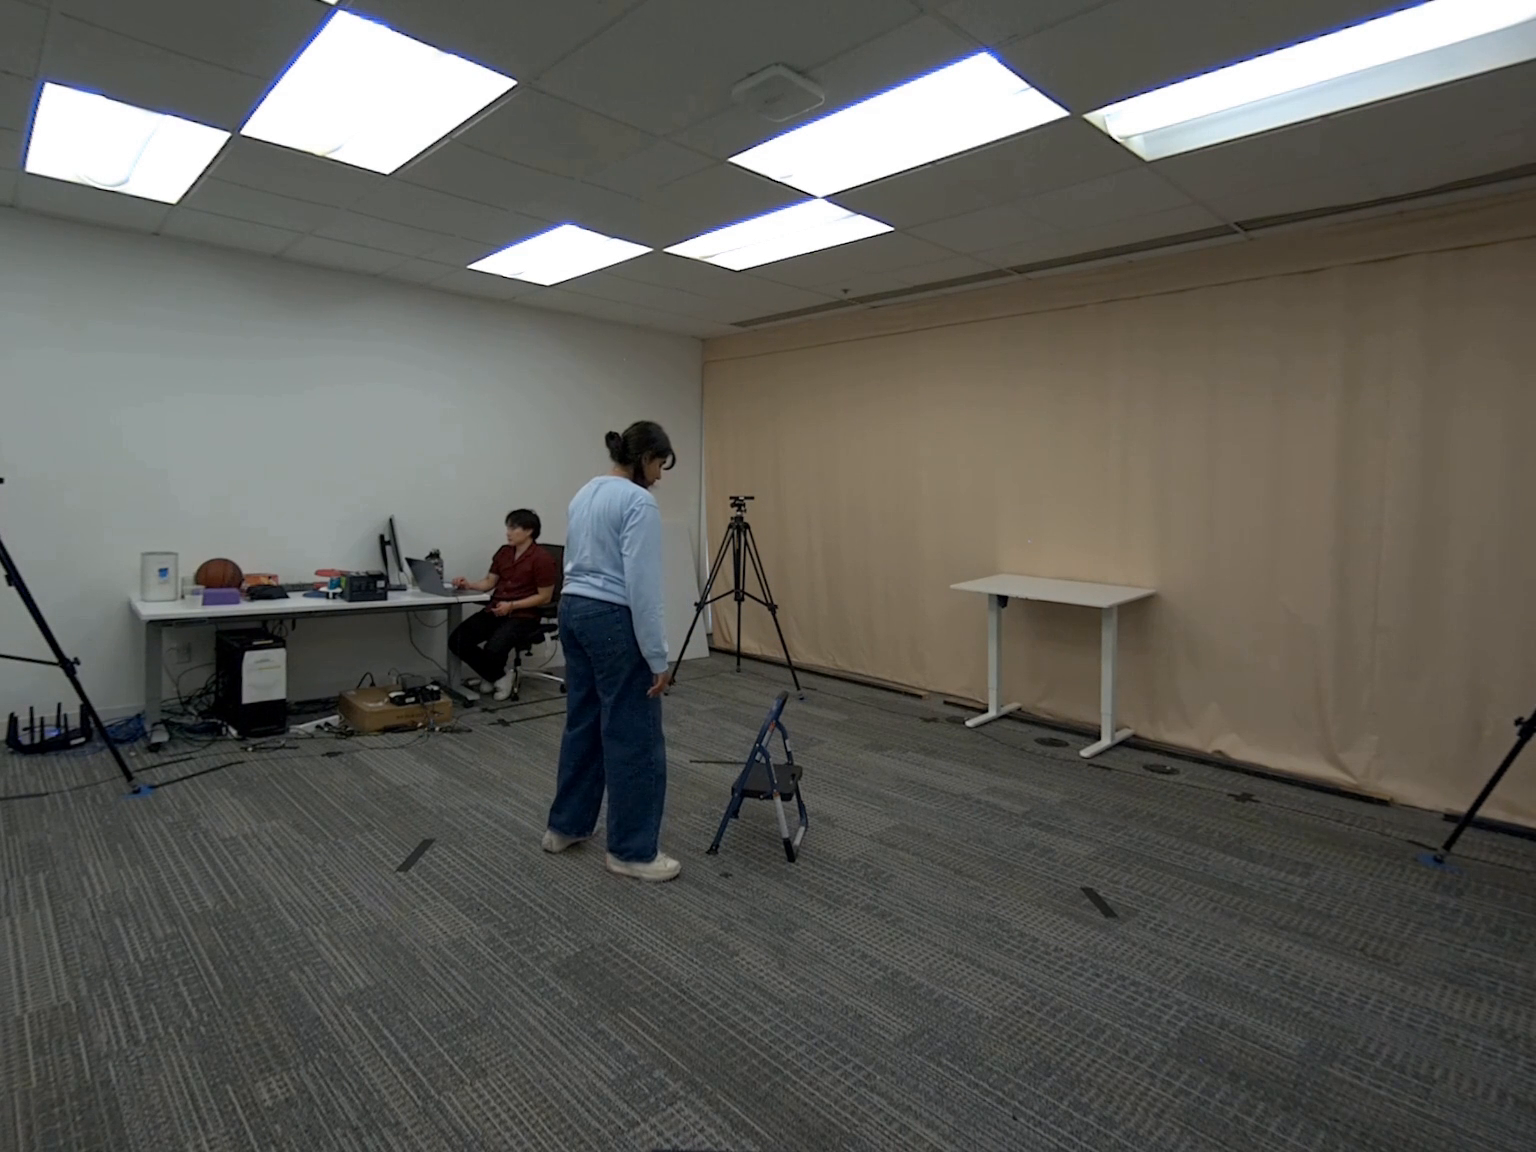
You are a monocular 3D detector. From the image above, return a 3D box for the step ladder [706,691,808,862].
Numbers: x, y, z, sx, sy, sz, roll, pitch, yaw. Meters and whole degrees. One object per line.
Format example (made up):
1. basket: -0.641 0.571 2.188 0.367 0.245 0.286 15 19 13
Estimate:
1. step ladder: -0.030 0.774 3.443 0.353 0.605 0.427 2 3 11
